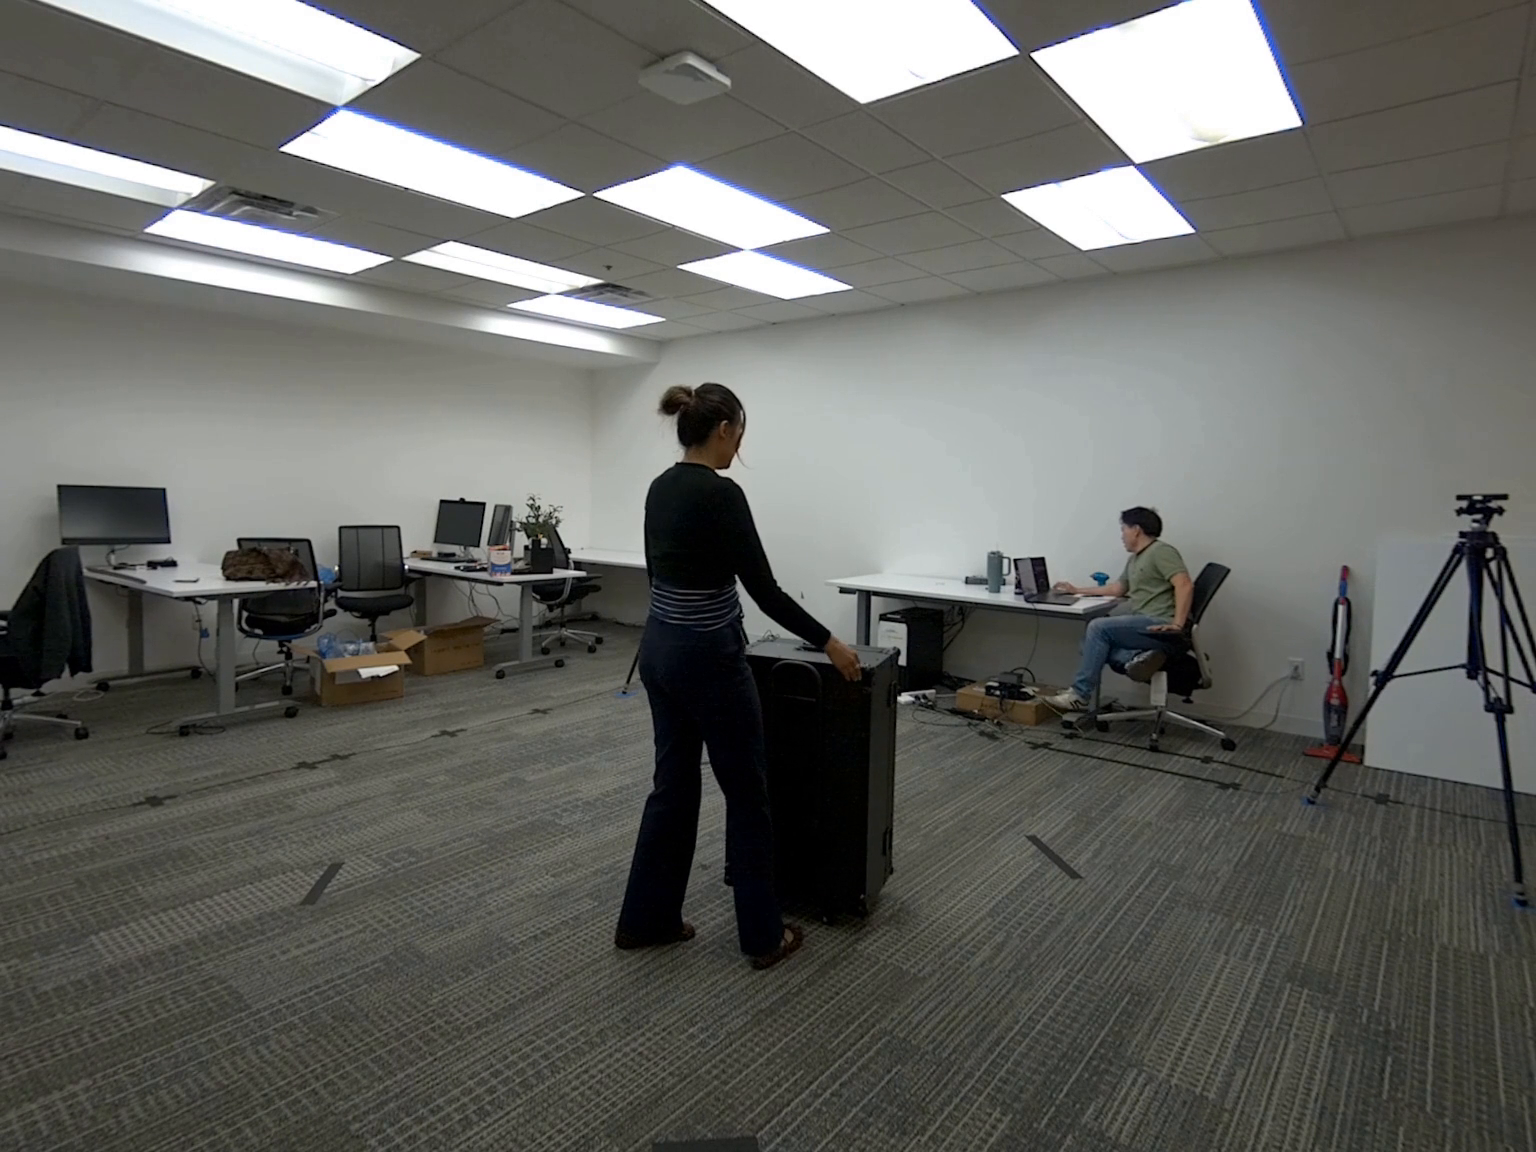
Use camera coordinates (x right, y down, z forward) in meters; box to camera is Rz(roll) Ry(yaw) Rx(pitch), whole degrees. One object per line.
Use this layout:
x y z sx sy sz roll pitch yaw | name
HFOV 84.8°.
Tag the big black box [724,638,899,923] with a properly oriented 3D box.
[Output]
0.147 0.673 2.854 0.535 0.858 0.388 3 5 25 | big black box
